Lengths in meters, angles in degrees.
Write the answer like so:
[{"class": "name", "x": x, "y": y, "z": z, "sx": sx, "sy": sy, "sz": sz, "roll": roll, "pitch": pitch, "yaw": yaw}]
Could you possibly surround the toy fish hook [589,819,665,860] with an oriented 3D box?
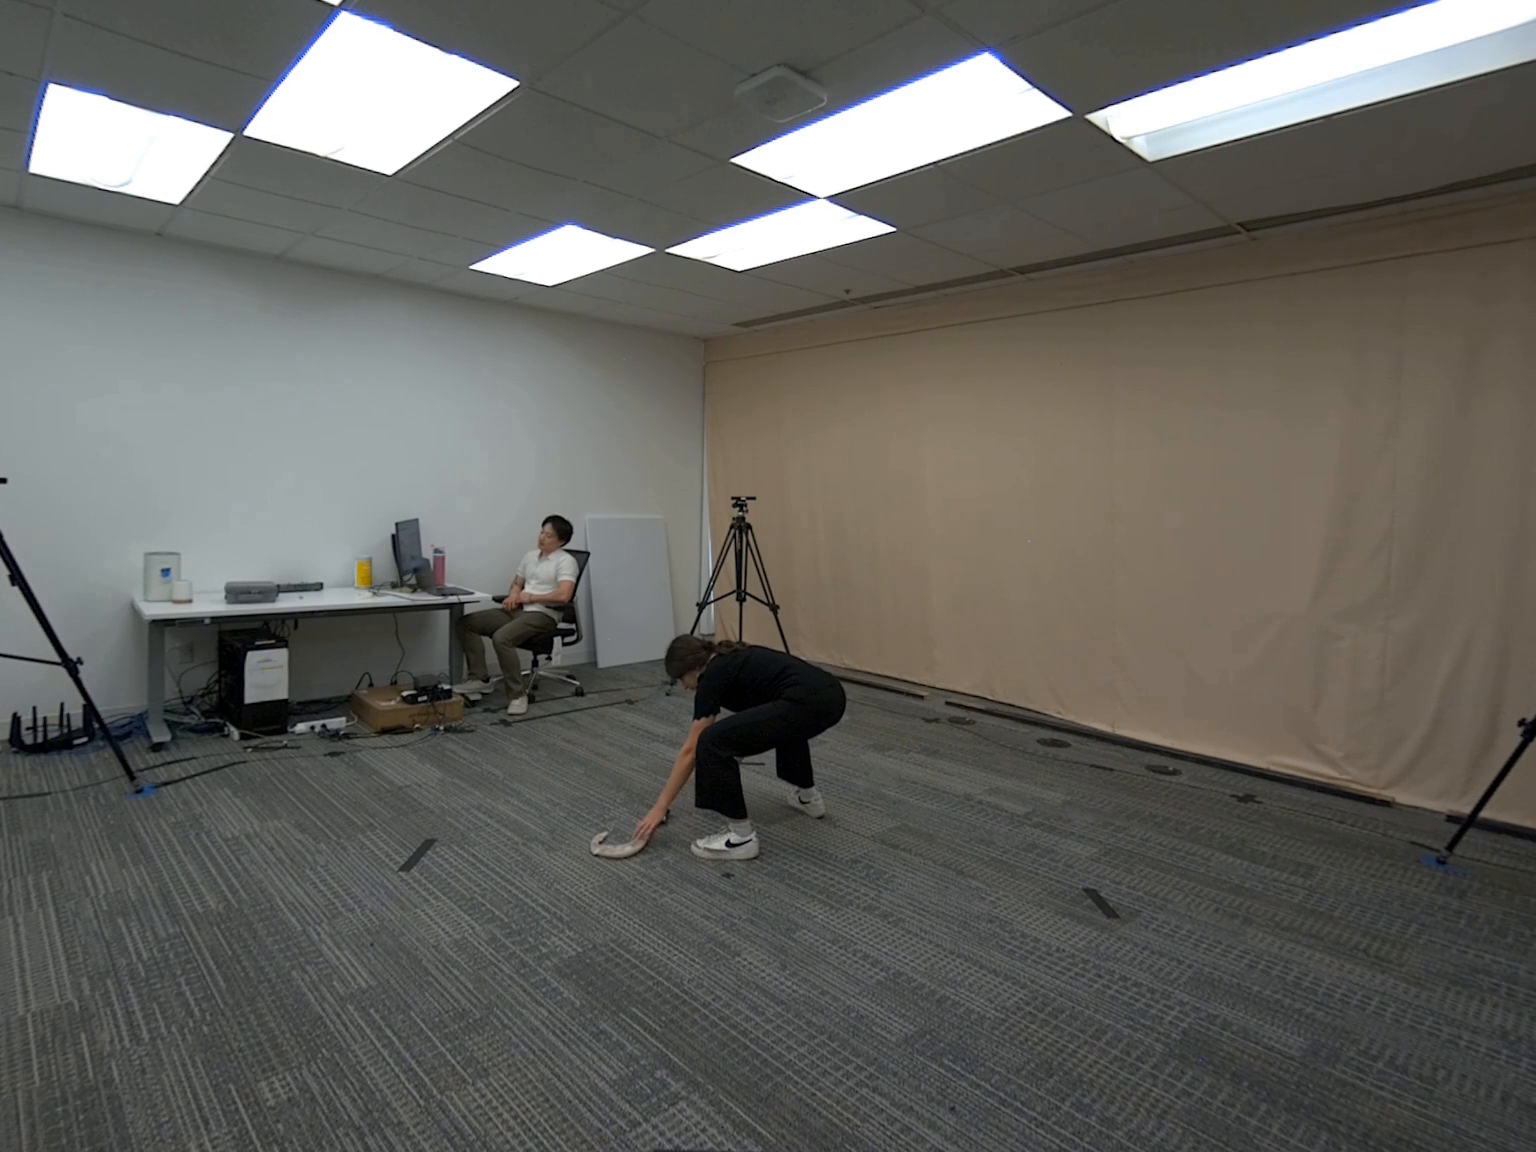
[{"class": "toy fish hook", "x": -0.568, "y": 1.042, "z": 3.462, "sx": 0.228, "sy": 0.048, "sz": 0.501, "roll": 4, "pitch": 5, "yaw": 15}]
